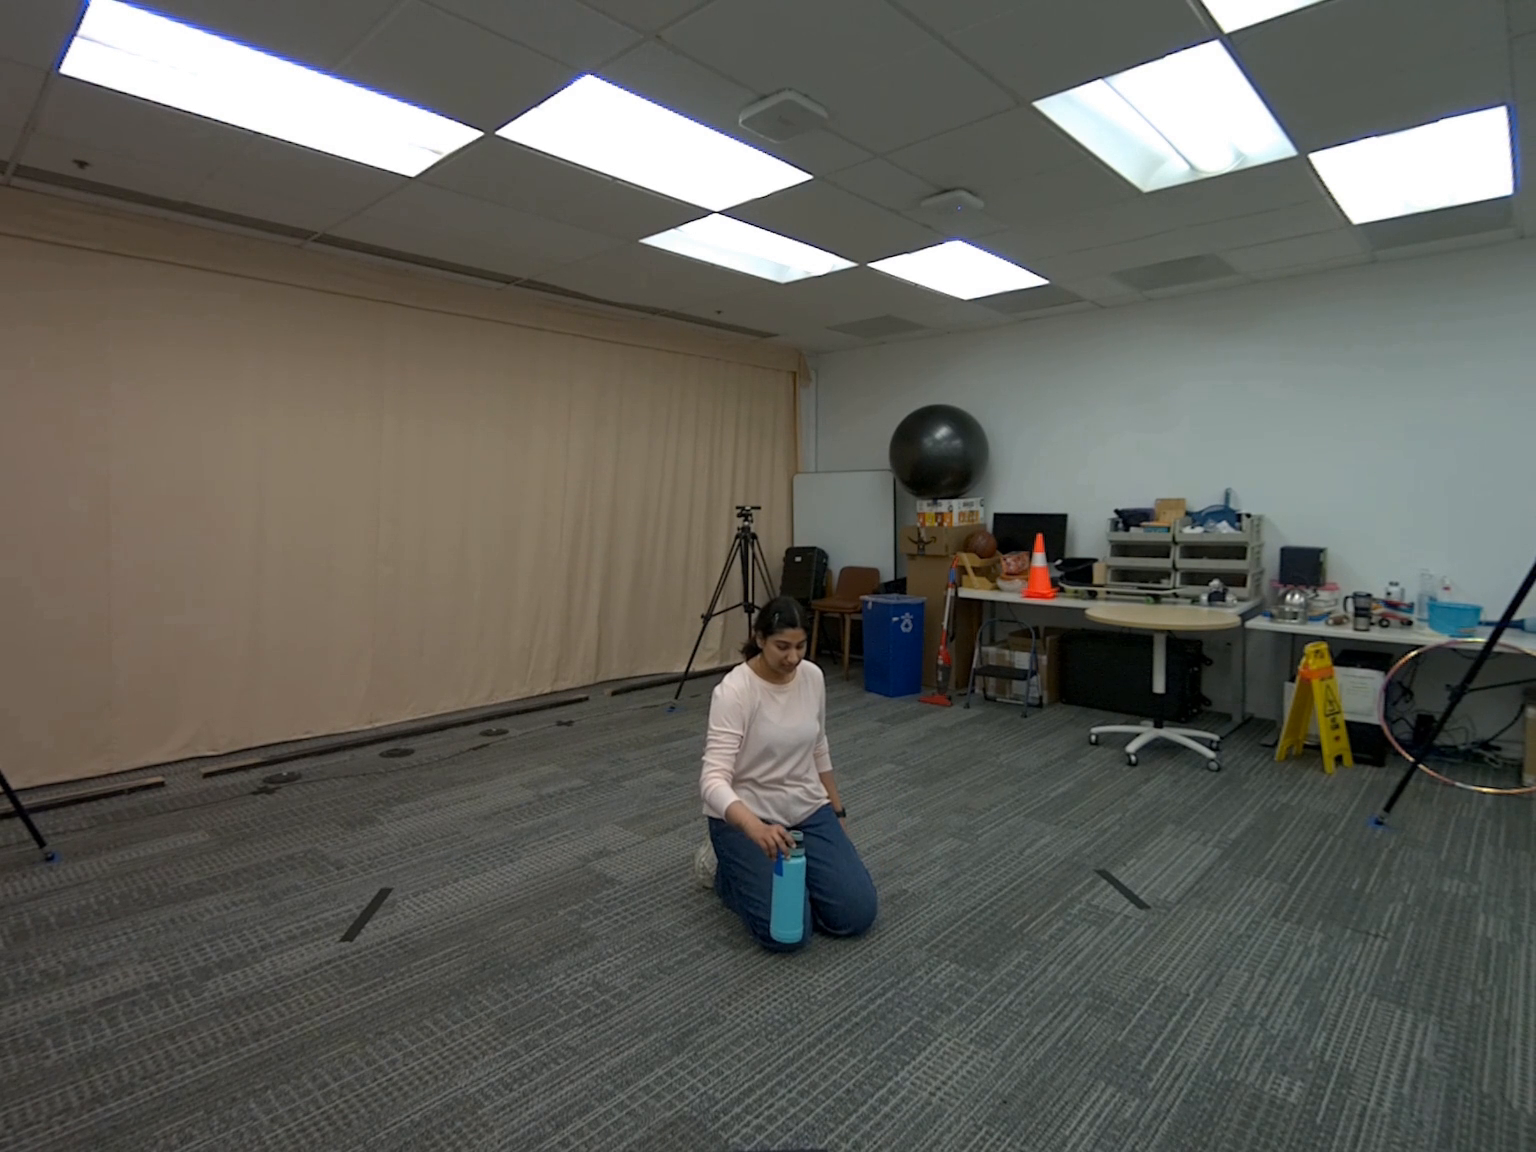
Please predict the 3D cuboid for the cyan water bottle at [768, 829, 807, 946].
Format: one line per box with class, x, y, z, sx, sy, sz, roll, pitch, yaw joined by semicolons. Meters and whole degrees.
cyan water bottle;0.059;0.855;2.346;0.092;0.283;0.092;2;-1;-2
